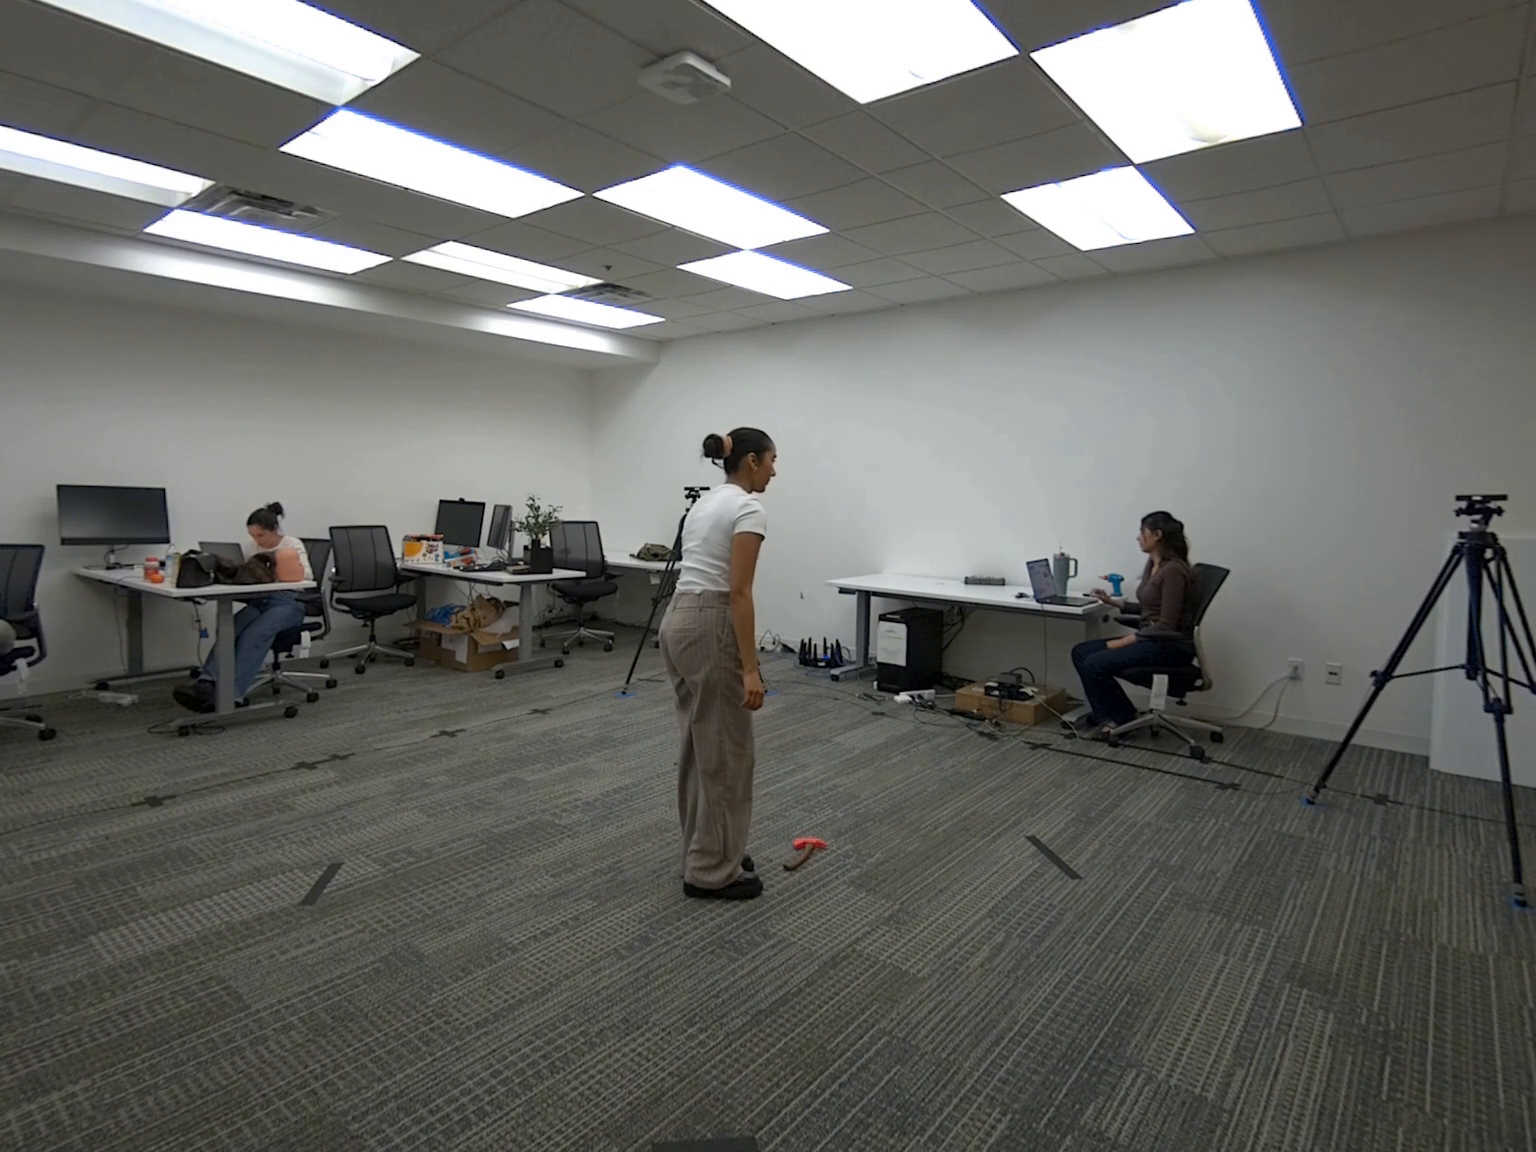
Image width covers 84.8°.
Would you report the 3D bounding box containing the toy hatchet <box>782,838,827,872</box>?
[{"bbox_3d":[0.103,1.052,3.233,0.135,0.029,0.263,7,9,35],"label":"toy hatchet"}]
